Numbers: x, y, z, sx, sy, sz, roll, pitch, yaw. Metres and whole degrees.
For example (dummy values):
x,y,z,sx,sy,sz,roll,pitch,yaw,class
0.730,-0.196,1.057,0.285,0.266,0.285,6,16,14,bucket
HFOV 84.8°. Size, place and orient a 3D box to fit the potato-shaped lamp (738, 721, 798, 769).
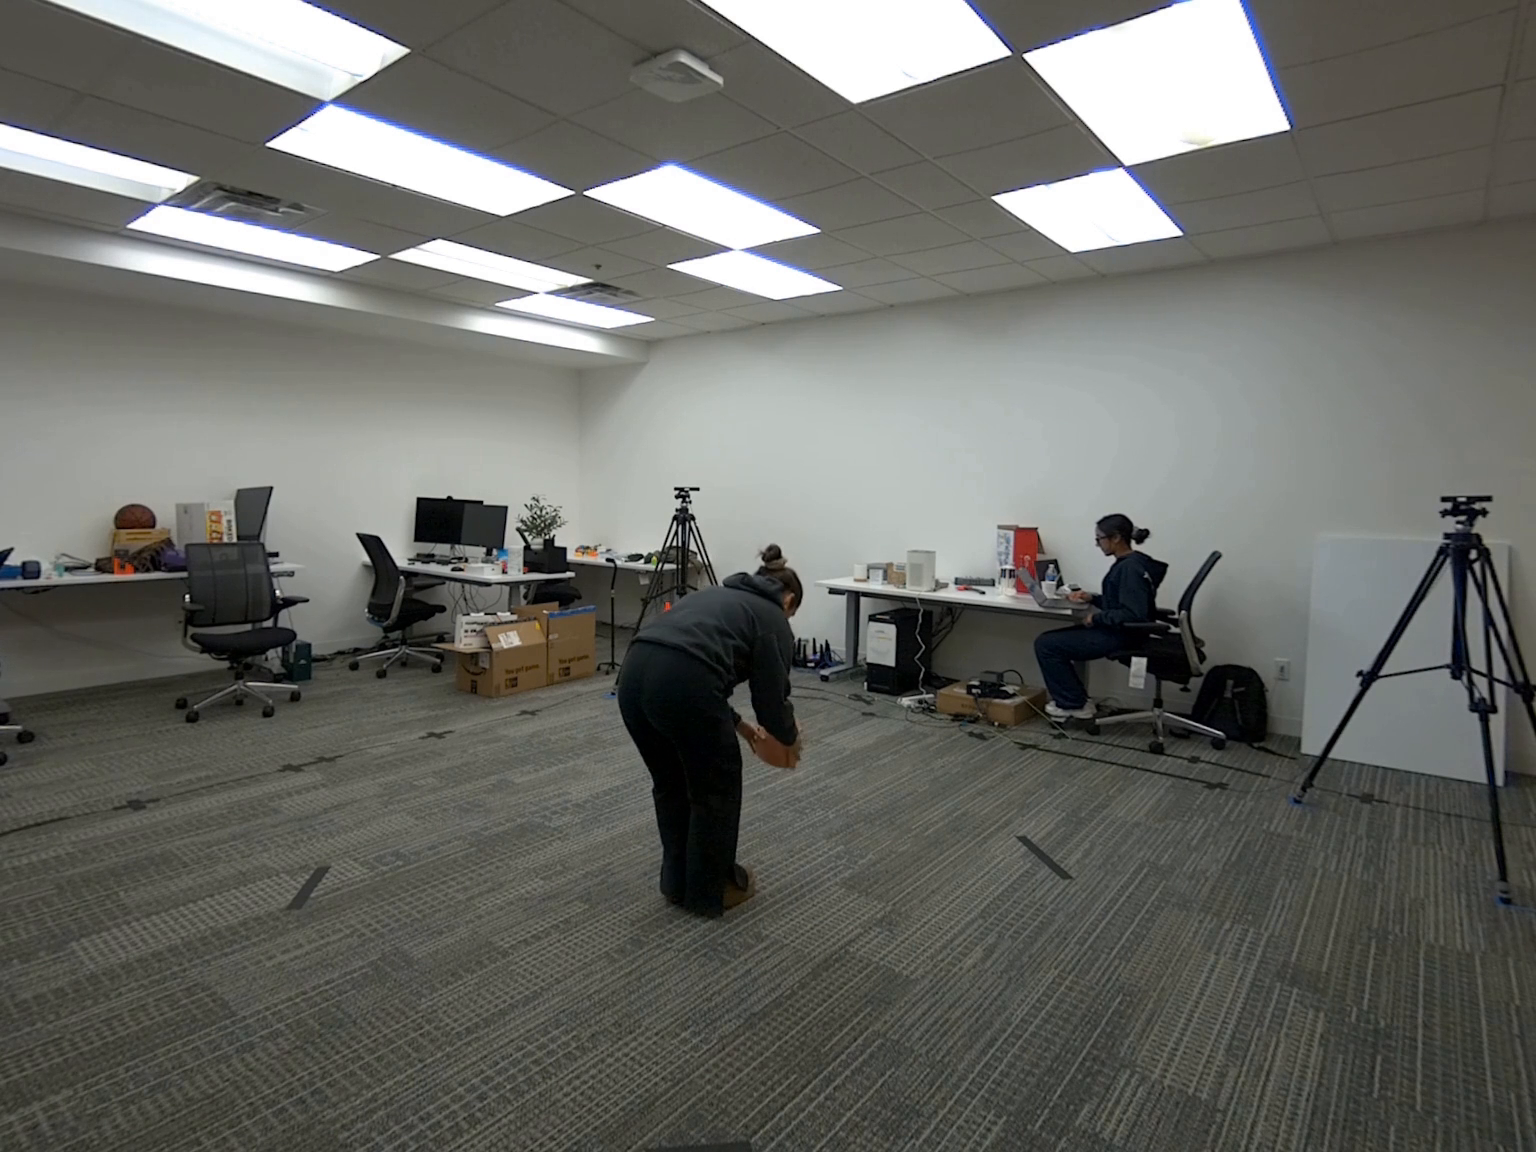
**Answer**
x,y,z,sx,sy,sz,roll,pitch,yaw,class
0.037,0.581,3.127,0.198,0.167,0.169,-32,18,-3,potato-shaped lamp
